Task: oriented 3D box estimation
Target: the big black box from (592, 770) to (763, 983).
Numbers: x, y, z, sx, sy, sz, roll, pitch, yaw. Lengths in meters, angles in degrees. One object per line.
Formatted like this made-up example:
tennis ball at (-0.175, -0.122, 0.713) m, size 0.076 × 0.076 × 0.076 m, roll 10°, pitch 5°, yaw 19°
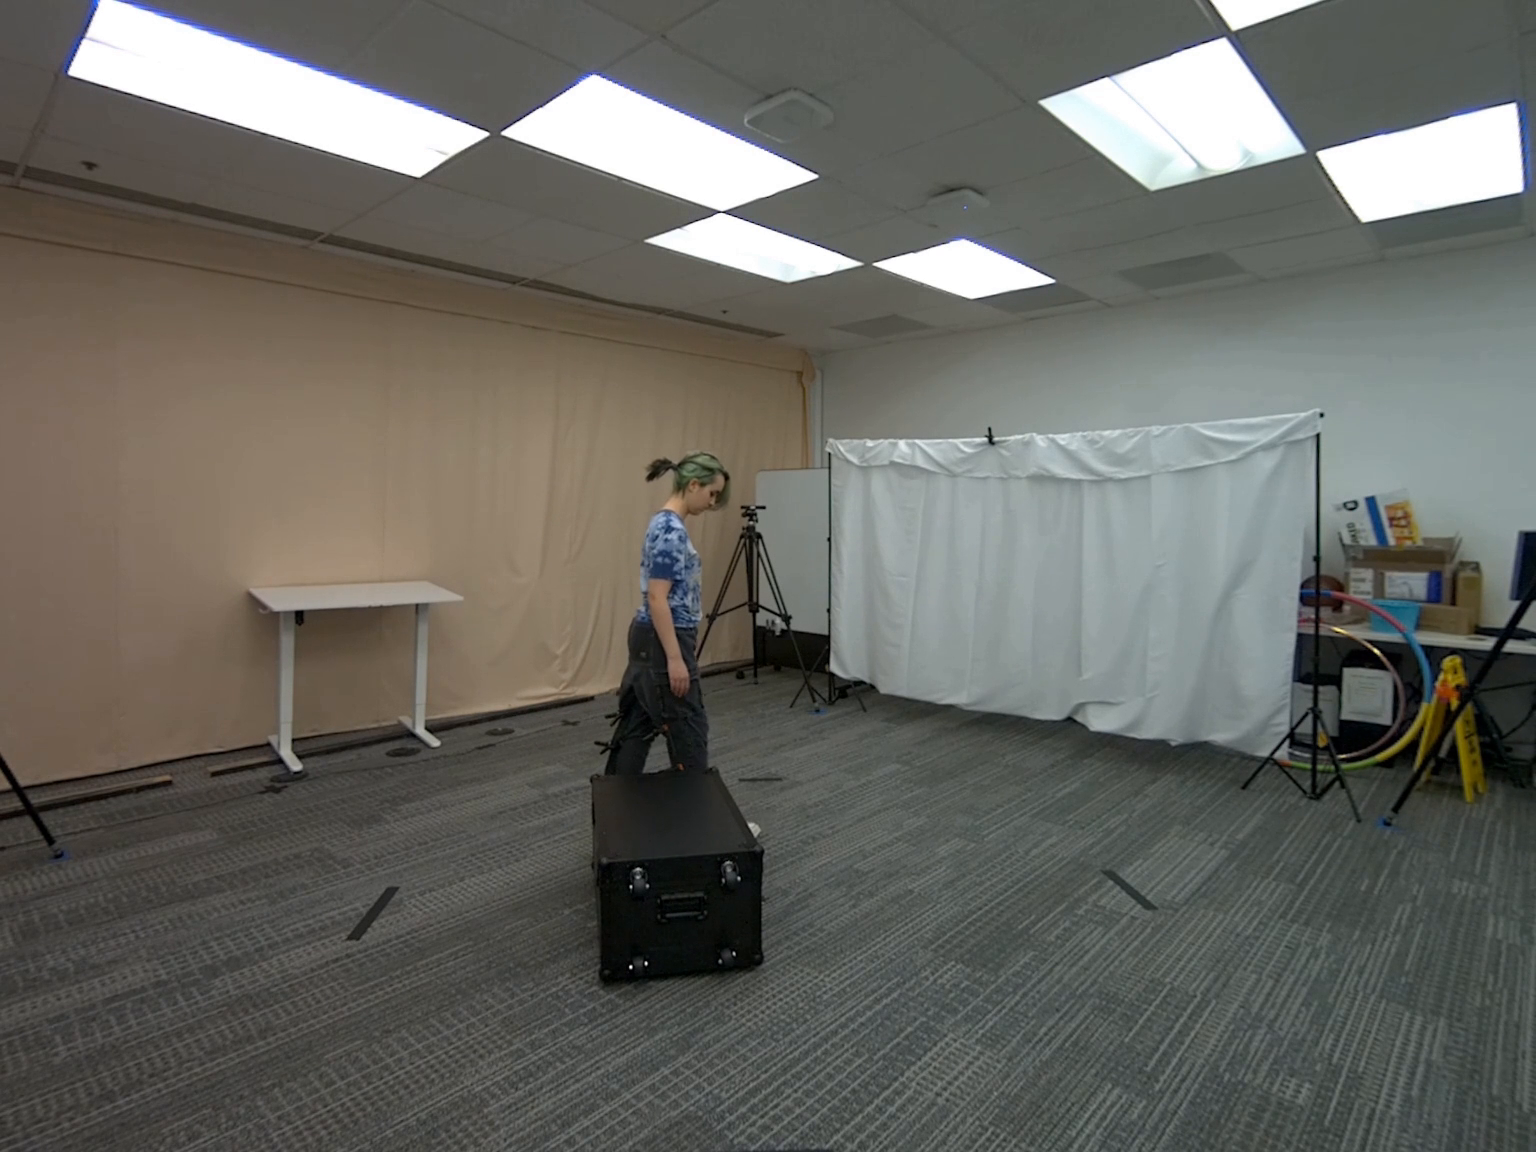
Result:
big black box at (-0.340, 0.966, 2.867) m, size 0.515 × 0.395 × 0.874 m, roll -1°, pitch 4°, yaw -13°
